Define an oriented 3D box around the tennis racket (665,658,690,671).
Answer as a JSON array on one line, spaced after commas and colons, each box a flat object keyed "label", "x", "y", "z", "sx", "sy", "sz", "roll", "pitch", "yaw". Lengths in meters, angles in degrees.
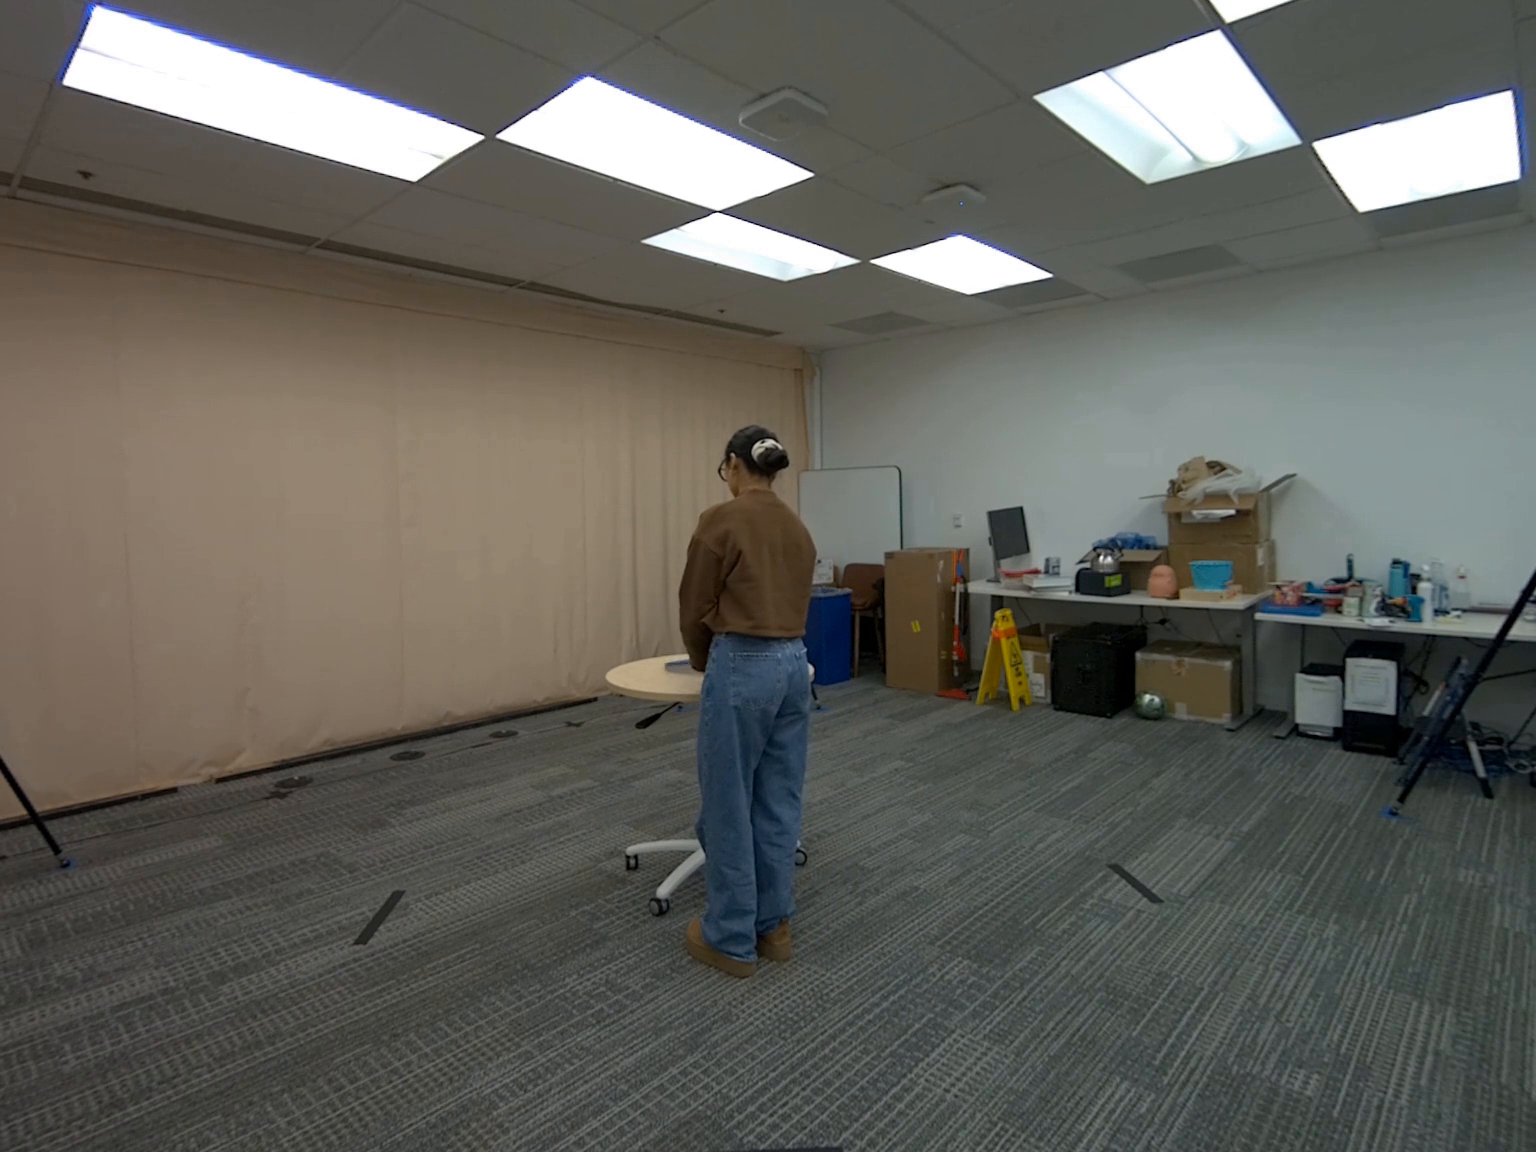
[{"label": "tennis racket", "x": -0.255, "y": 0.312, "z": 3.082, "sx": 0.210, "sy": 0.032, "sz": 0.440, "roll": -8, "pitch": -2, "yaw": -21}]
